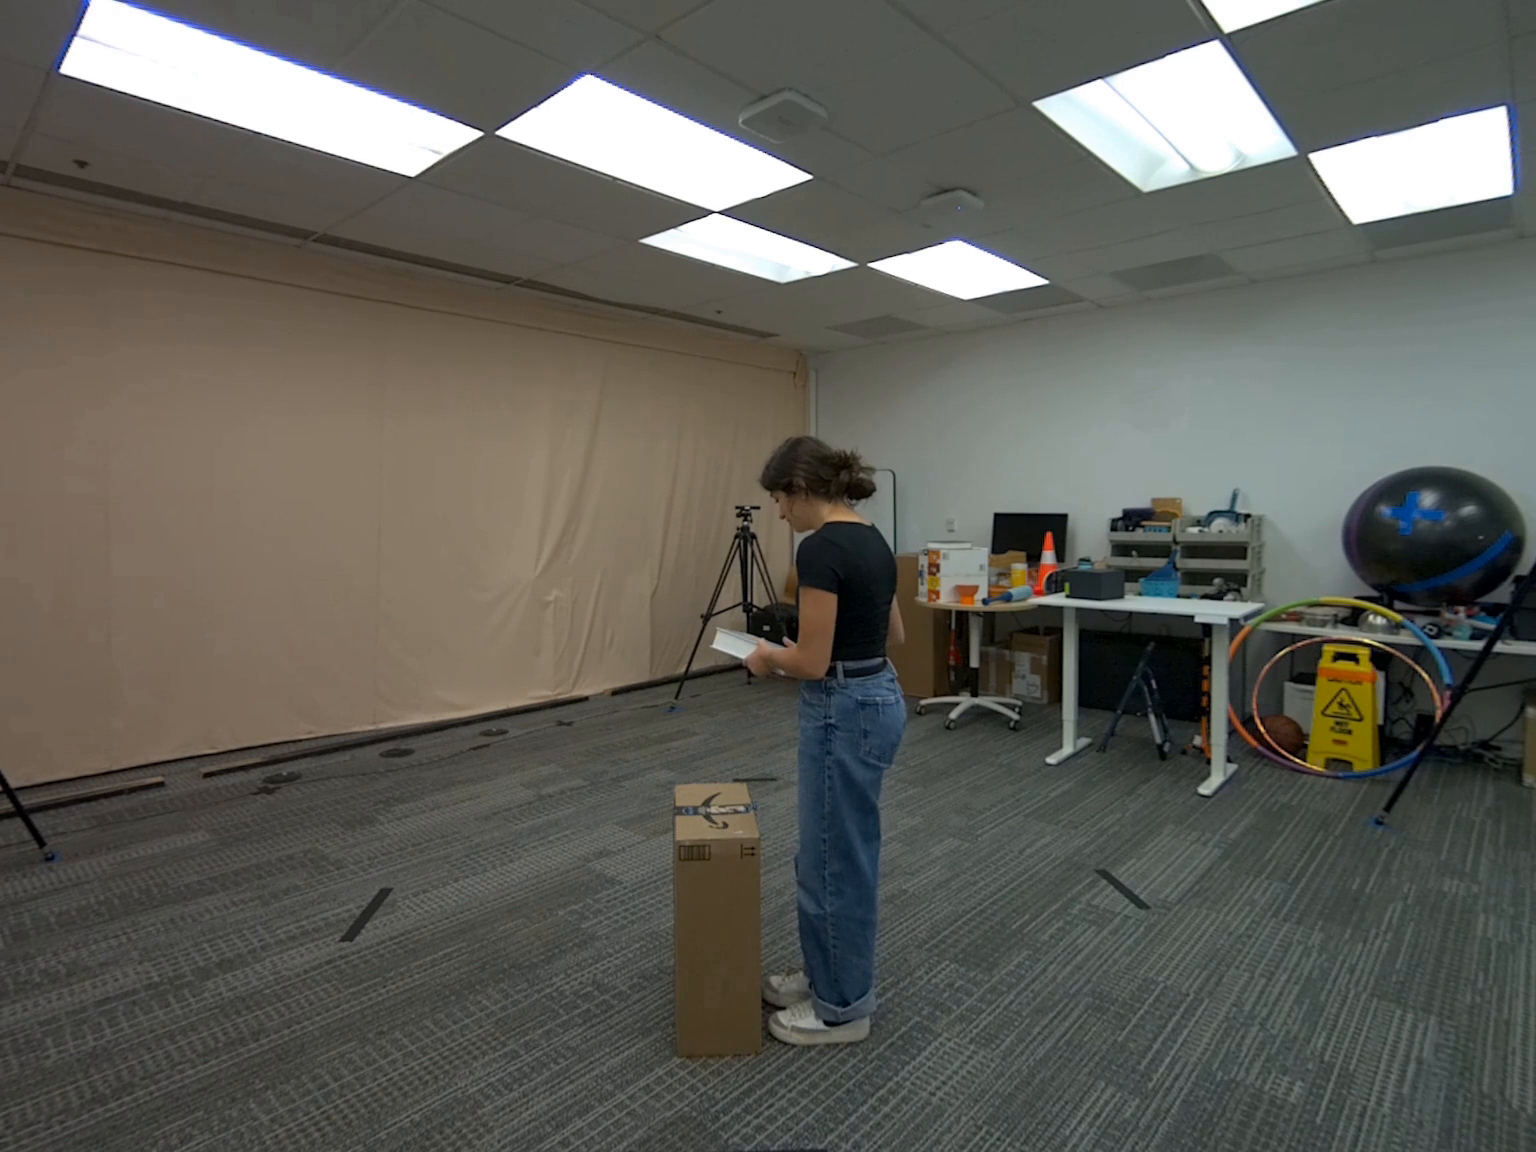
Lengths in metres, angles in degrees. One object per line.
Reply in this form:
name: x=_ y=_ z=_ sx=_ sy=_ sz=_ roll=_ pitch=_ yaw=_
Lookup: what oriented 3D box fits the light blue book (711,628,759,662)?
light blue book: x=0.003 y=0.222 z=2.387 sx=0.270 sy=0.059 sz=0.185 roll=15 pitch=-2 yaw=34
